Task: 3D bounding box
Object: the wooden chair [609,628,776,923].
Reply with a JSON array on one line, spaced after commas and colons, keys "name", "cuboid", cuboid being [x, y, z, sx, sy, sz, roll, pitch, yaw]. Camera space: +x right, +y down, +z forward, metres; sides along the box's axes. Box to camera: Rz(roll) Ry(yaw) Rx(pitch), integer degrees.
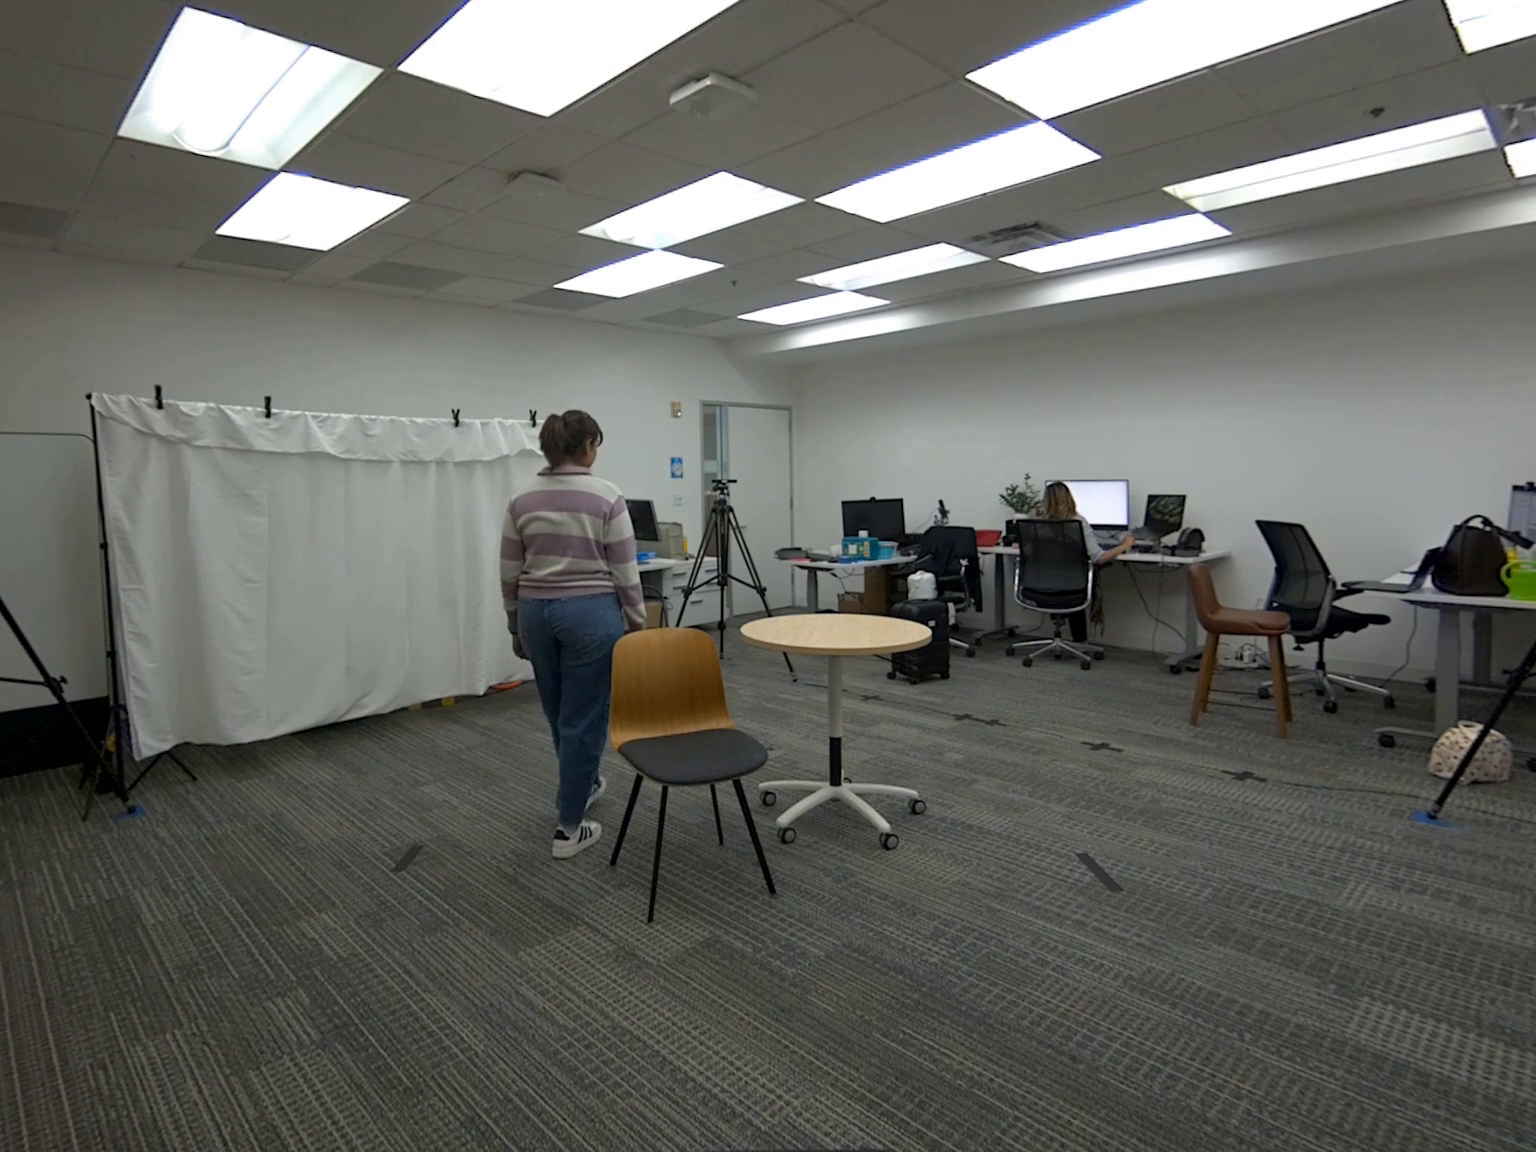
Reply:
[{"name": "wooden chair", "cuboid": [-0.277, 0.642, 2.954, 0.468, 0.877, 0.534, -3, 0, -25]}]
